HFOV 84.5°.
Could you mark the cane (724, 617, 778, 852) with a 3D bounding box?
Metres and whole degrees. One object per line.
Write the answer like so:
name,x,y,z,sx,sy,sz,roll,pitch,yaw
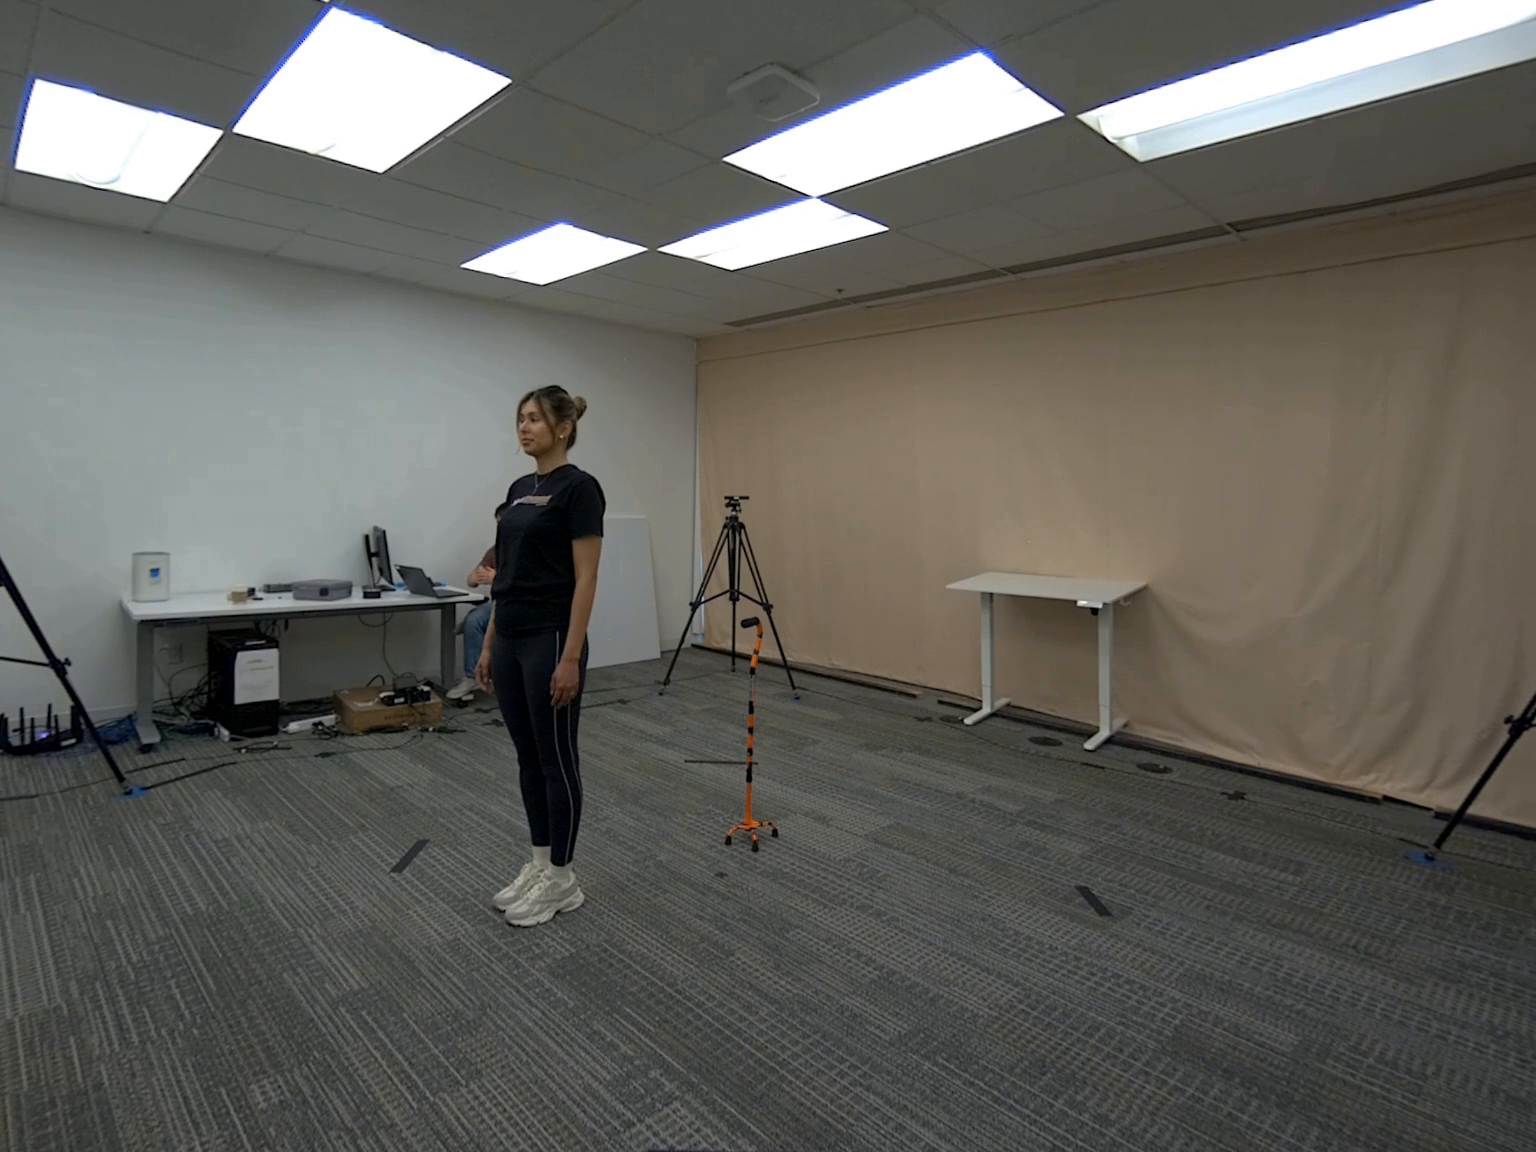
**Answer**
cane,-0.060,0.621,3.409,0.154,0.906,0.203,3,3,24
